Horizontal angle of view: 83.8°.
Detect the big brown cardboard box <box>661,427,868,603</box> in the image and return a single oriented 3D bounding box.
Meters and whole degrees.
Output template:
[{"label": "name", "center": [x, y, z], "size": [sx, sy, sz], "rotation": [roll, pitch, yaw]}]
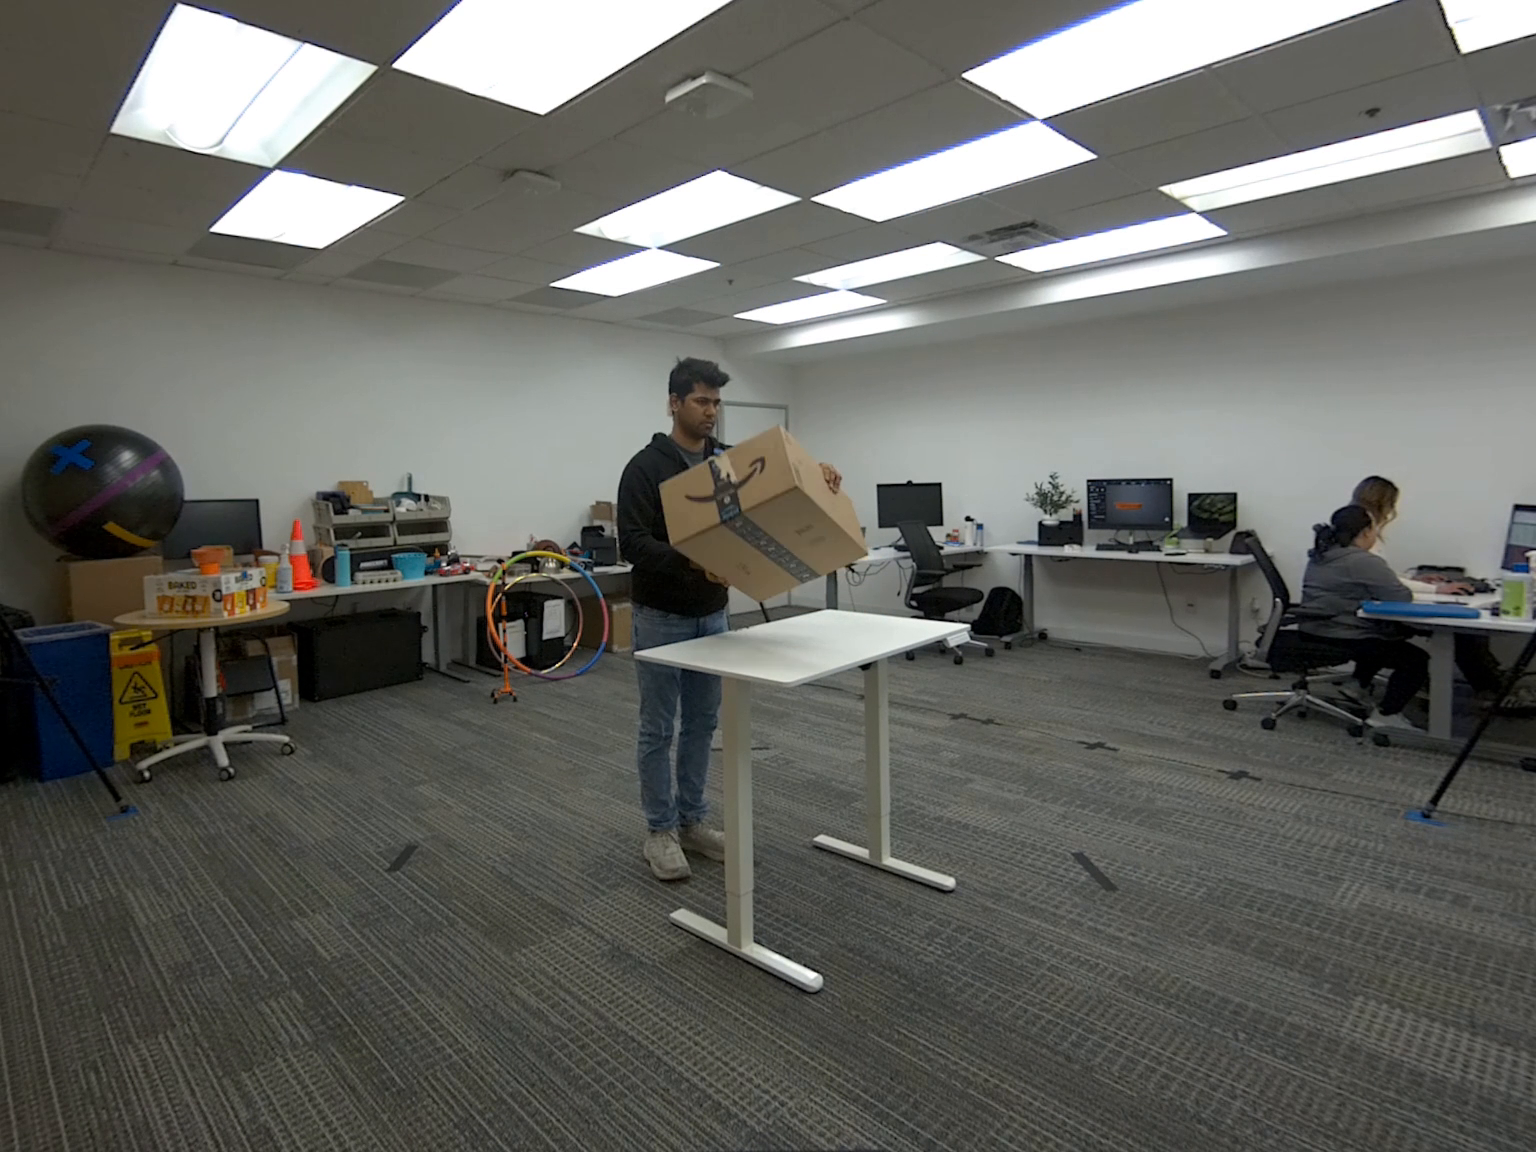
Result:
[{"label": "big brown cardboard box", "center": [-0.001, -0.160, 2.642], "size": [0.421, 0.239, 0.567], "rotation": [-23, -28, 19]}]
